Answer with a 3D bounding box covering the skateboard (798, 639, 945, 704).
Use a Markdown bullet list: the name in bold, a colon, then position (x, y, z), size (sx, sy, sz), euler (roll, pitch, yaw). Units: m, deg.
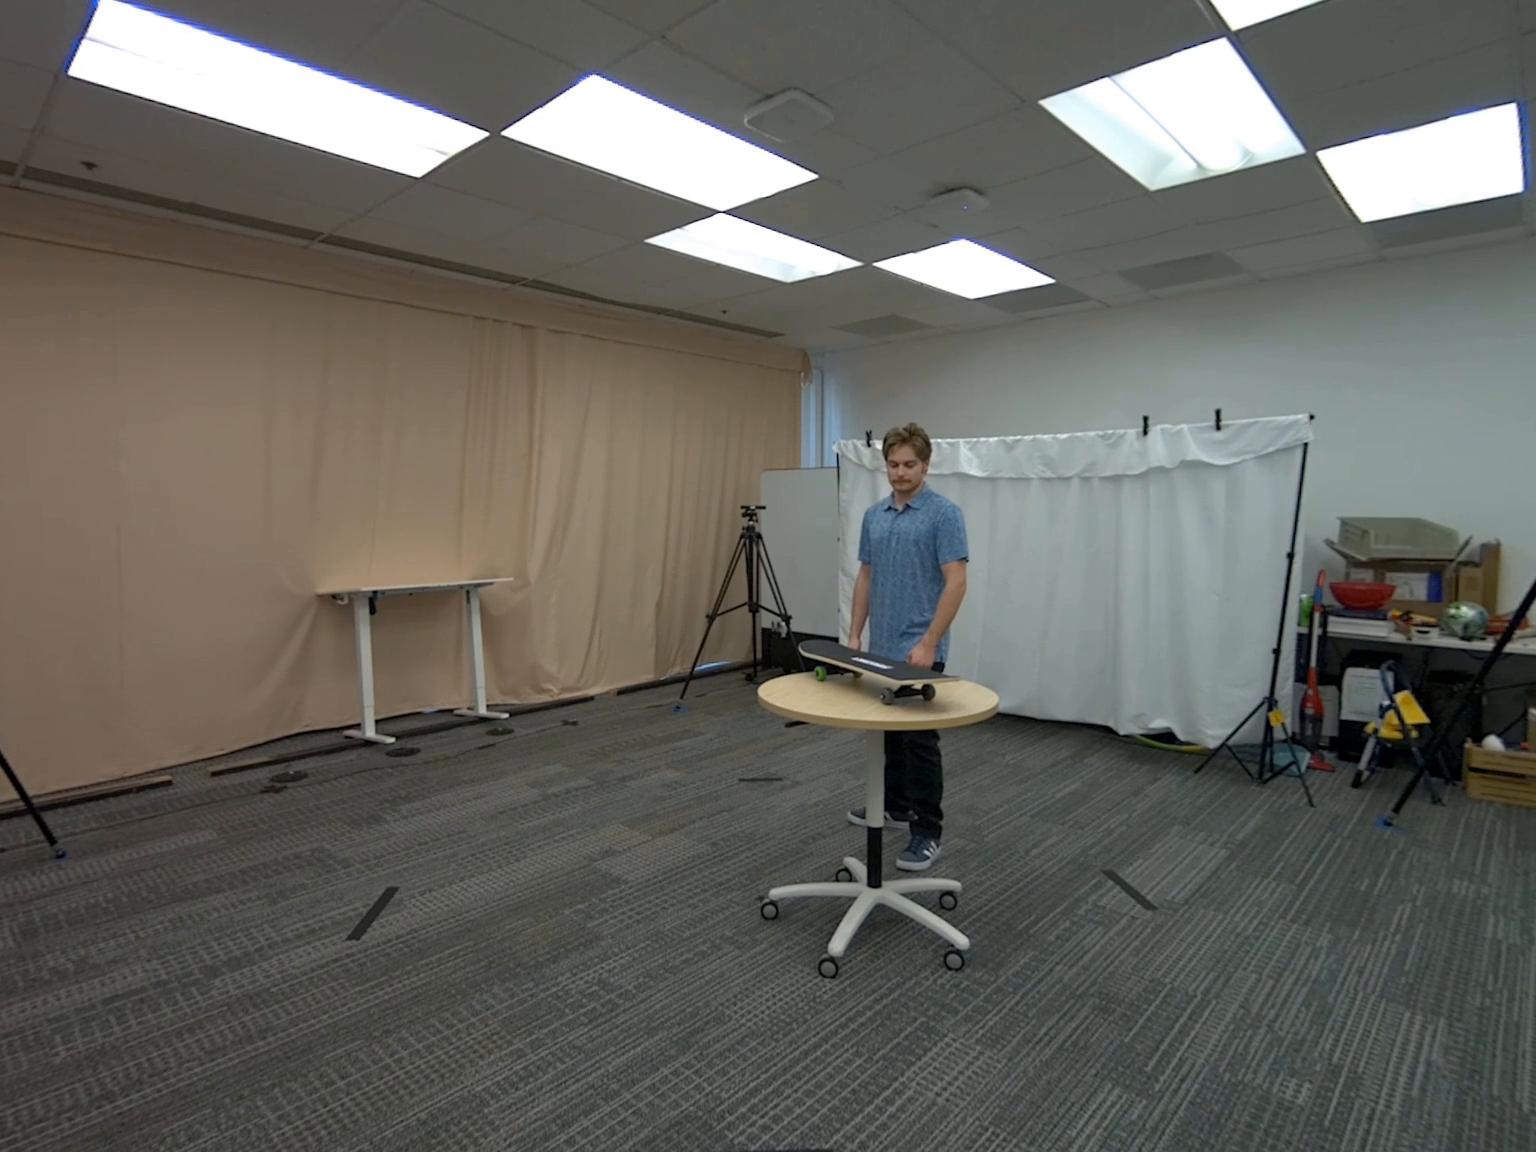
- **skateboard**: position (0.350, 0.327, 2.771), size (0.189, 0.110, 0.806), euler (-1, 5, -25)
